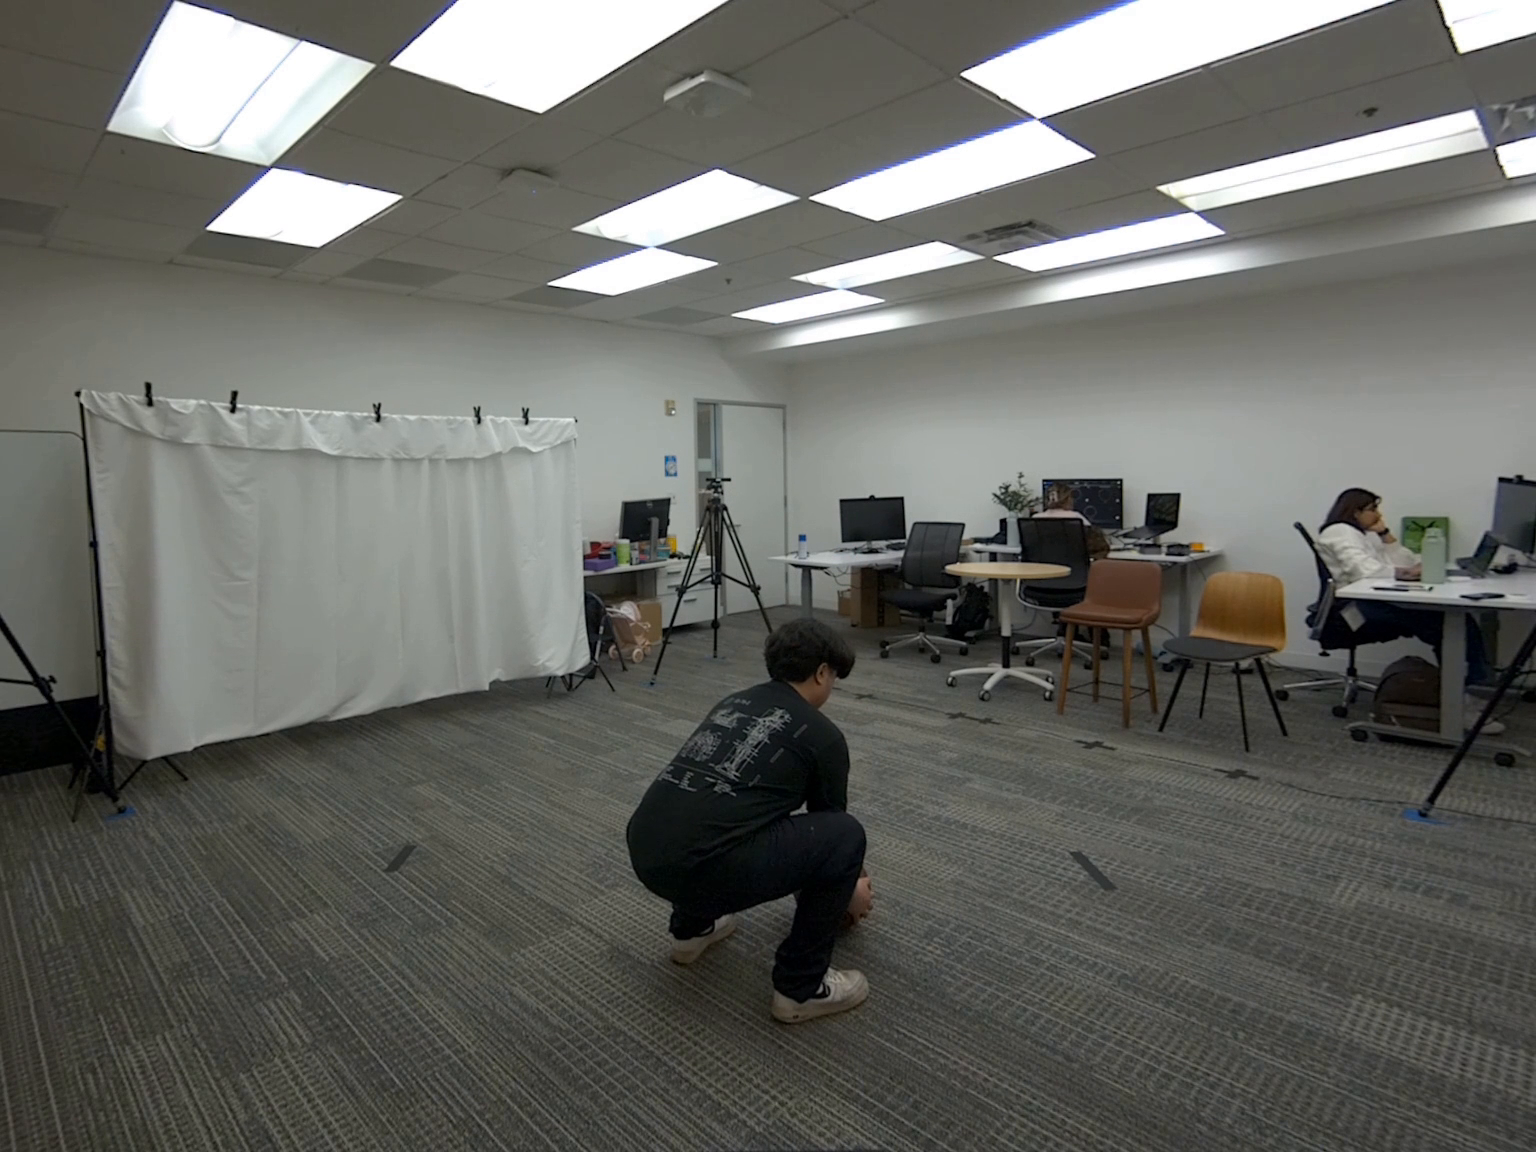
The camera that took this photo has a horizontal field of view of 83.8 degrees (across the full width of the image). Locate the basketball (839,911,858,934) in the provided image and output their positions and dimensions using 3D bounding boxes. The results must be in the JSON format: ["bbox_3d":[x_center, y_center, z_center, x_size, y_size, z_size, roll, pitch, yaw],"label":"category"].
[{"bbox_3d":[0.219,0.976,2.644,0.236,0.235,0.237,-1,5,-2],"label":"basketball"}]
